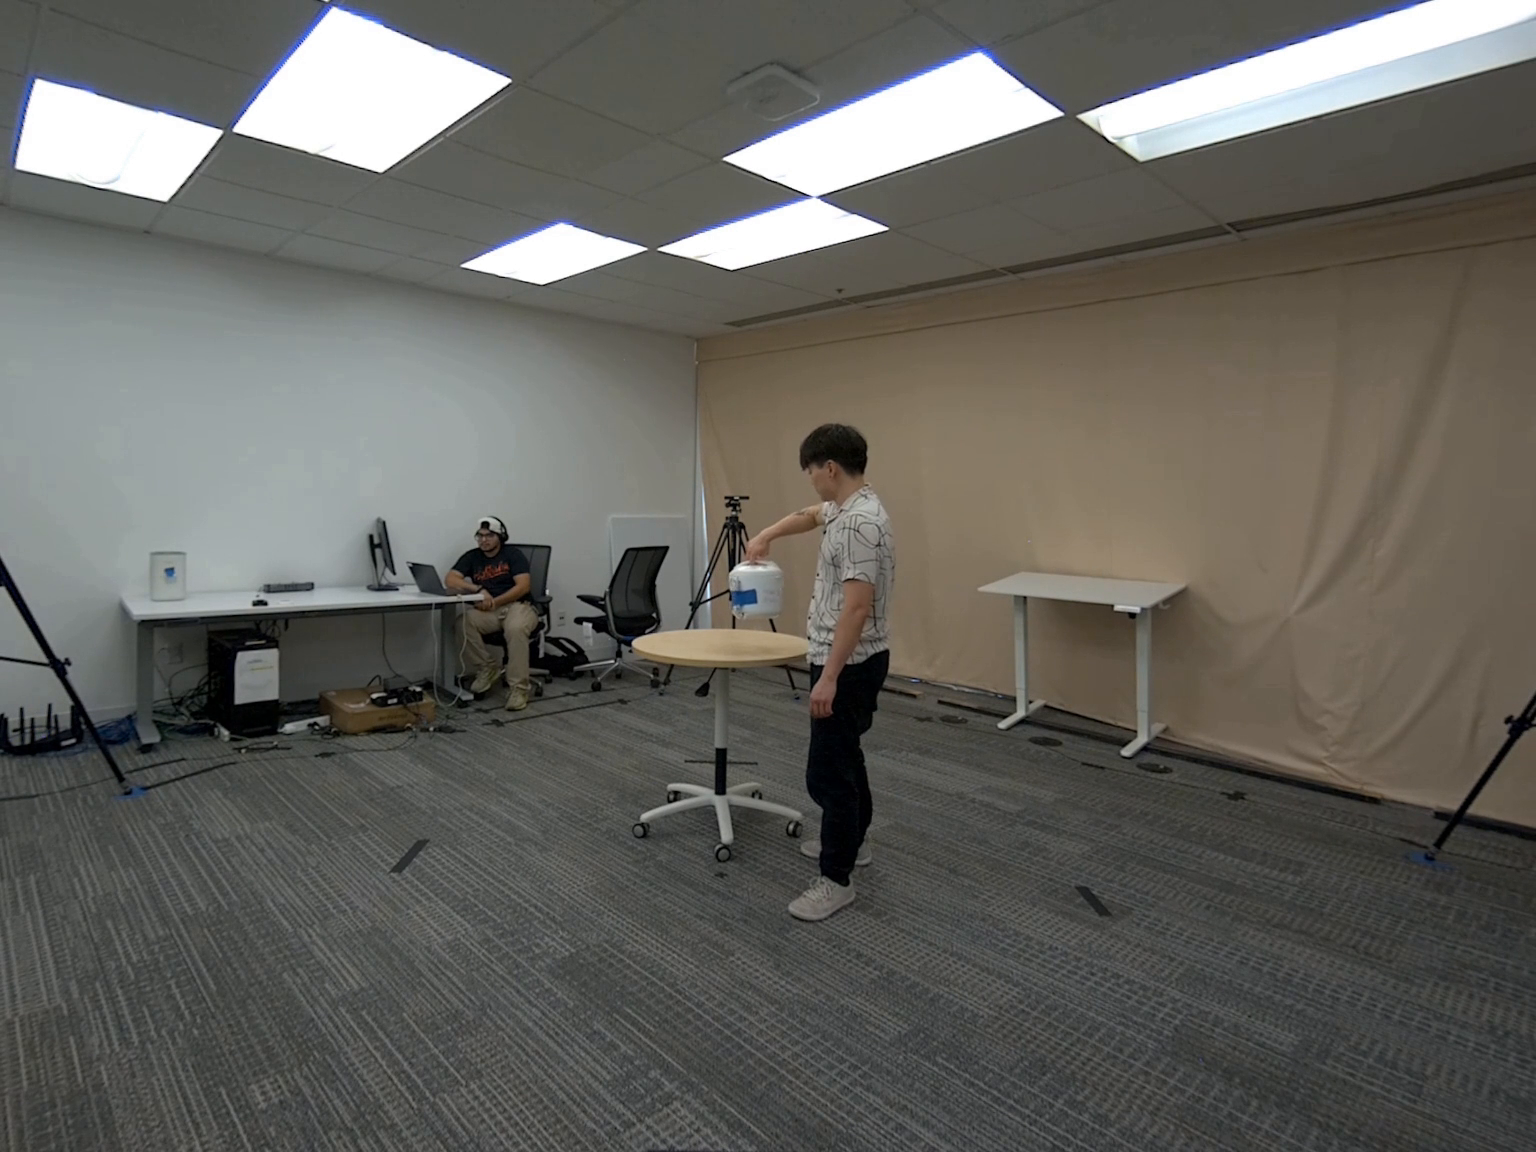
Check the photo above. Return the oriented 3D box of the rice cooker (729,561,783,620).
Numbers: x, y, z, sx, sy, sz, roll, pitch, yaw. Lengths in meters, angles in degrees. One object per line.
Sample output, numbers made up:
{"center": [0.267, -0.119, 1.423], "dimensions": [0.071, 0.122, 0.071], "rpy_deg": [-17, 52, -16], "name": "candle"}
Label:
{"center": [-0.056, 0.049, 3.363], "dimensions": [0.220, 0.233, 0.218], "rpy_deg": [0, 1, -2], "name": "rice cooker"}
